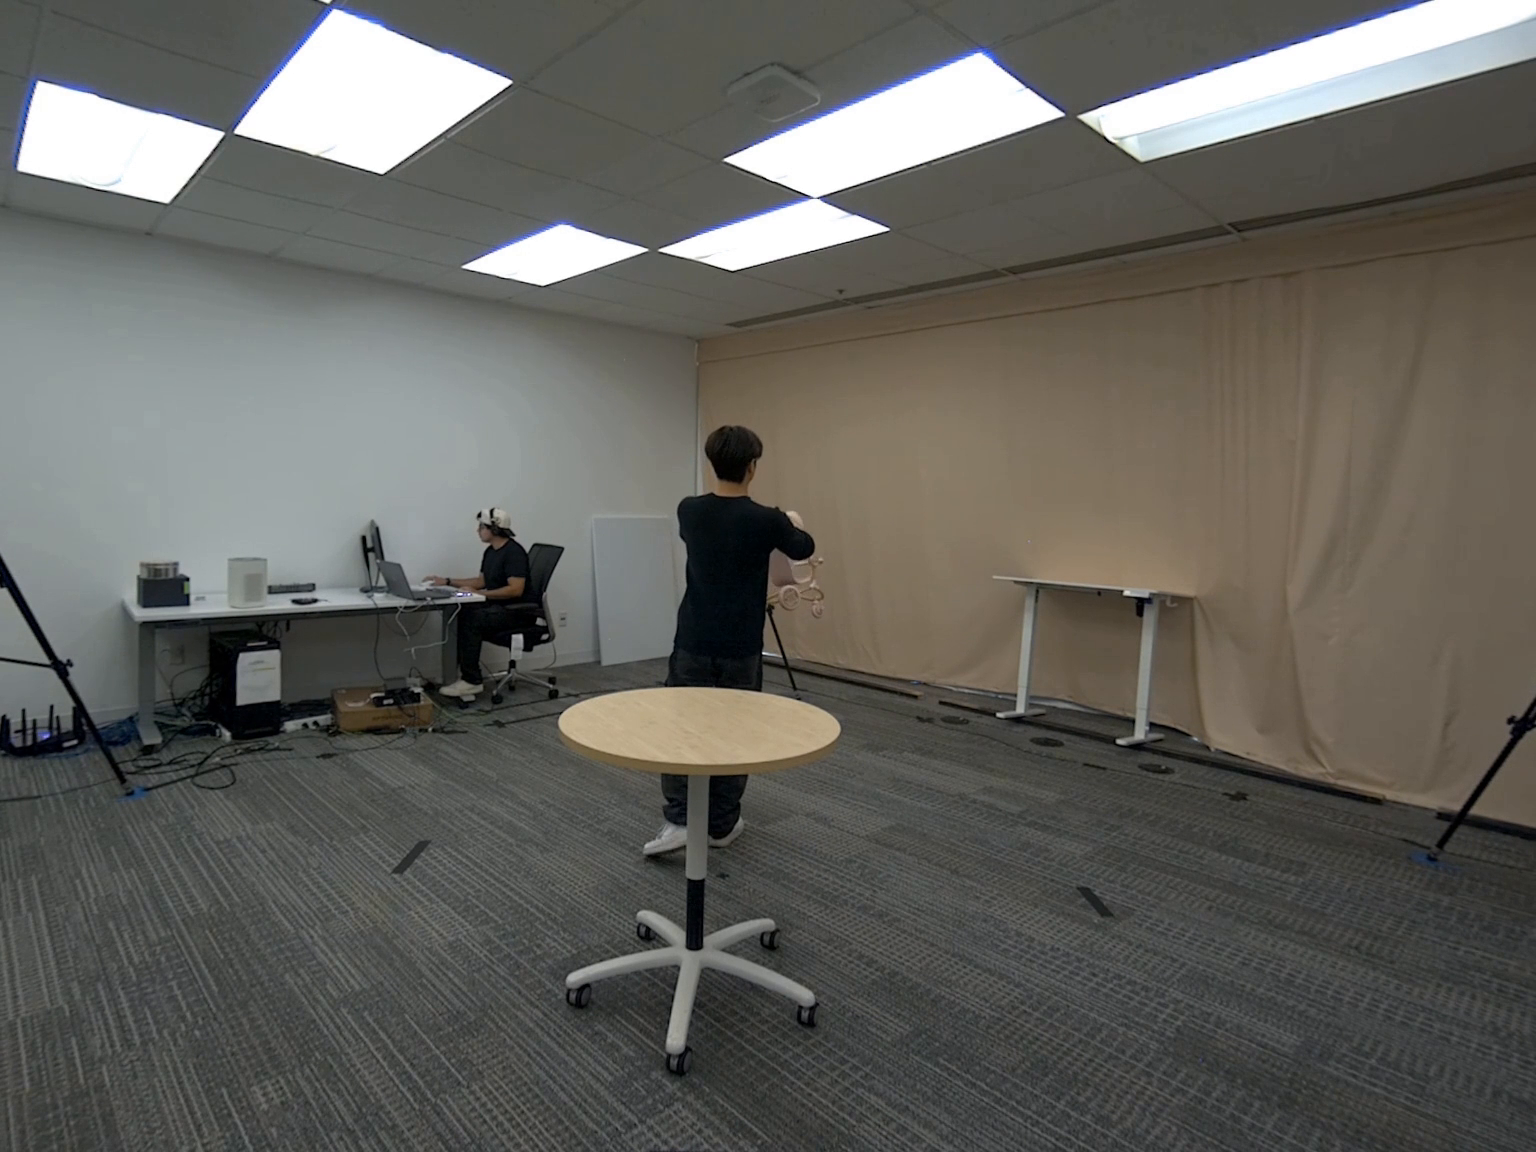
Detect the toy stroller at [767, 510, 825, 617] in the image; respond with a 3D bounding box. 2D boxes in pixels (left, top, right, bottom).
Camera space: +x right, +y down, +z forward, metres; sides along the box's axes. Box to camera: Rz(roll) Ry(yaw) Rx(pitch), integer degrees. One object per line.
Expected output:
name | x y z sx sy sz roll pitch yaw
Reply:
toy stroller | 0.082 -0.060 3.844 0.335 0.536 0.286 -7 -3 -30
